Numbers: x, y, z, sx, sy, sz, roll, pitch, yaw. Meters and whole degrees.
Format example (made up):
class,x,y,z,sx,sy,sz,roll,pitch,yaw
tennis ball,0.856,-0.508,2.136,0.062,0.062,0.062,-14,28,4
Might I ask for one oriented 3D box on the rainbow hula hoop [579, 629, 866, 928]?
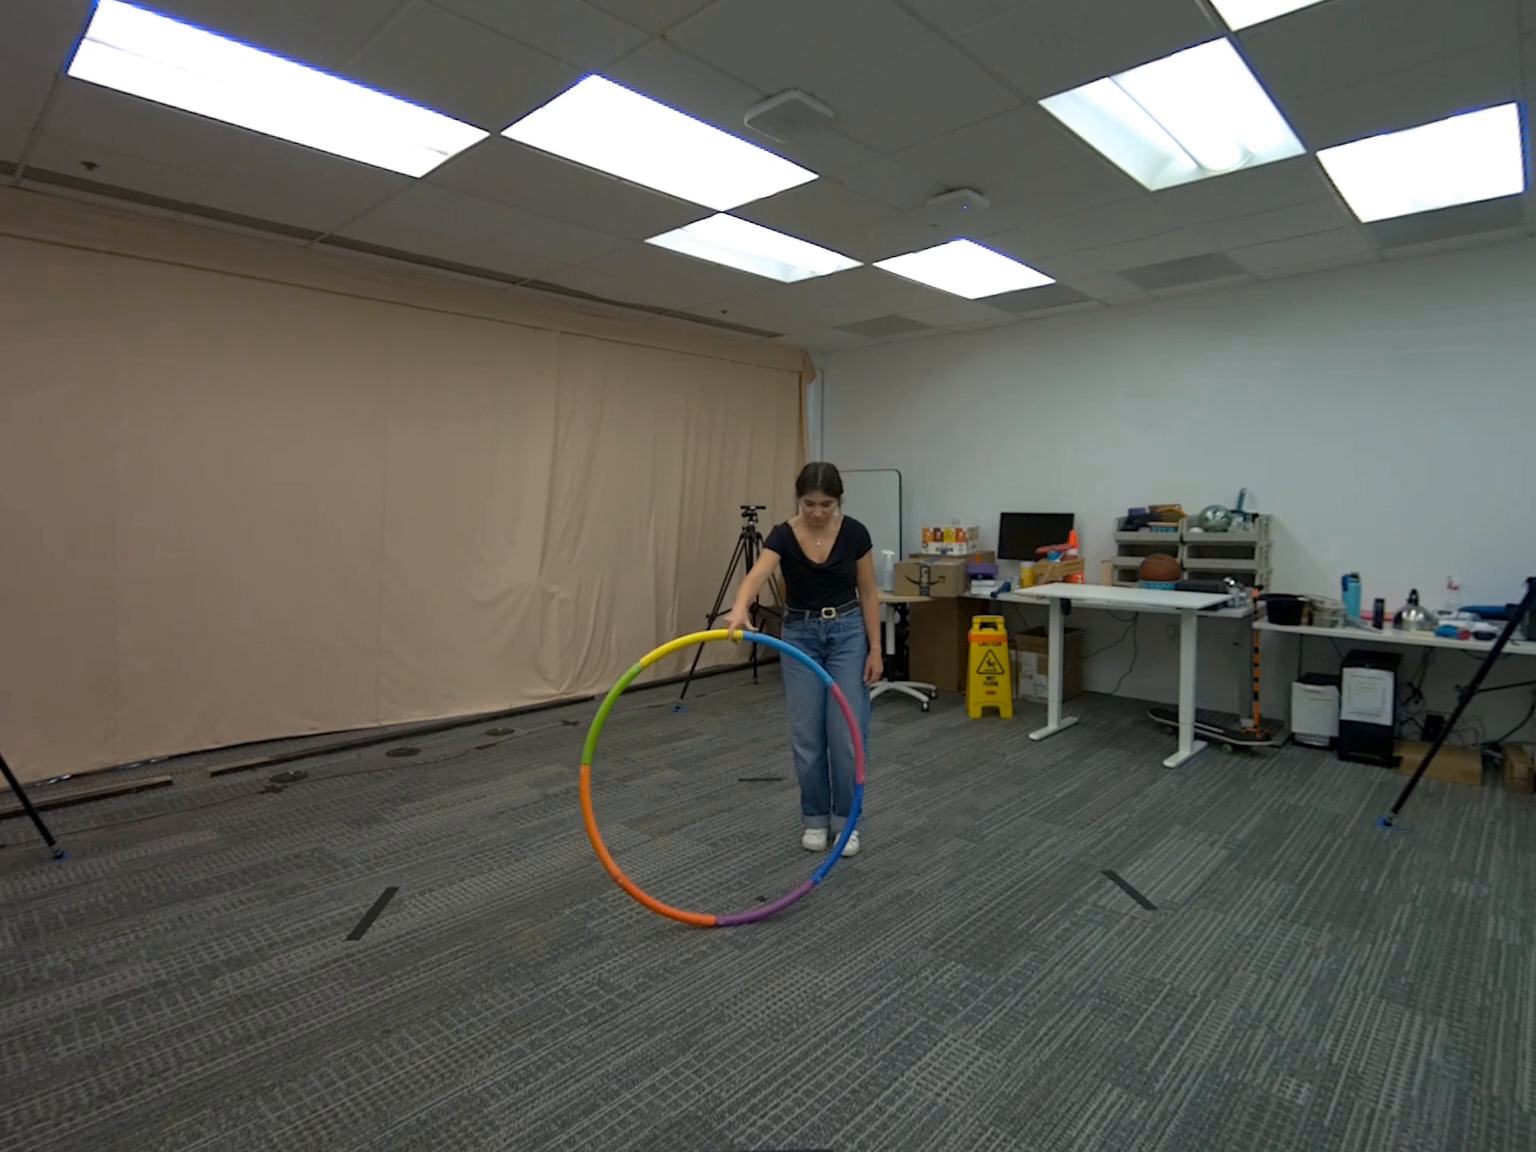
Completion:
class,x,y,z,sx,sy,sz,roll,pitch,yaw
rainbow hula hoop,-0.131,0.679,2.843,0.965,0.983,0.036,-1,-7,-13
